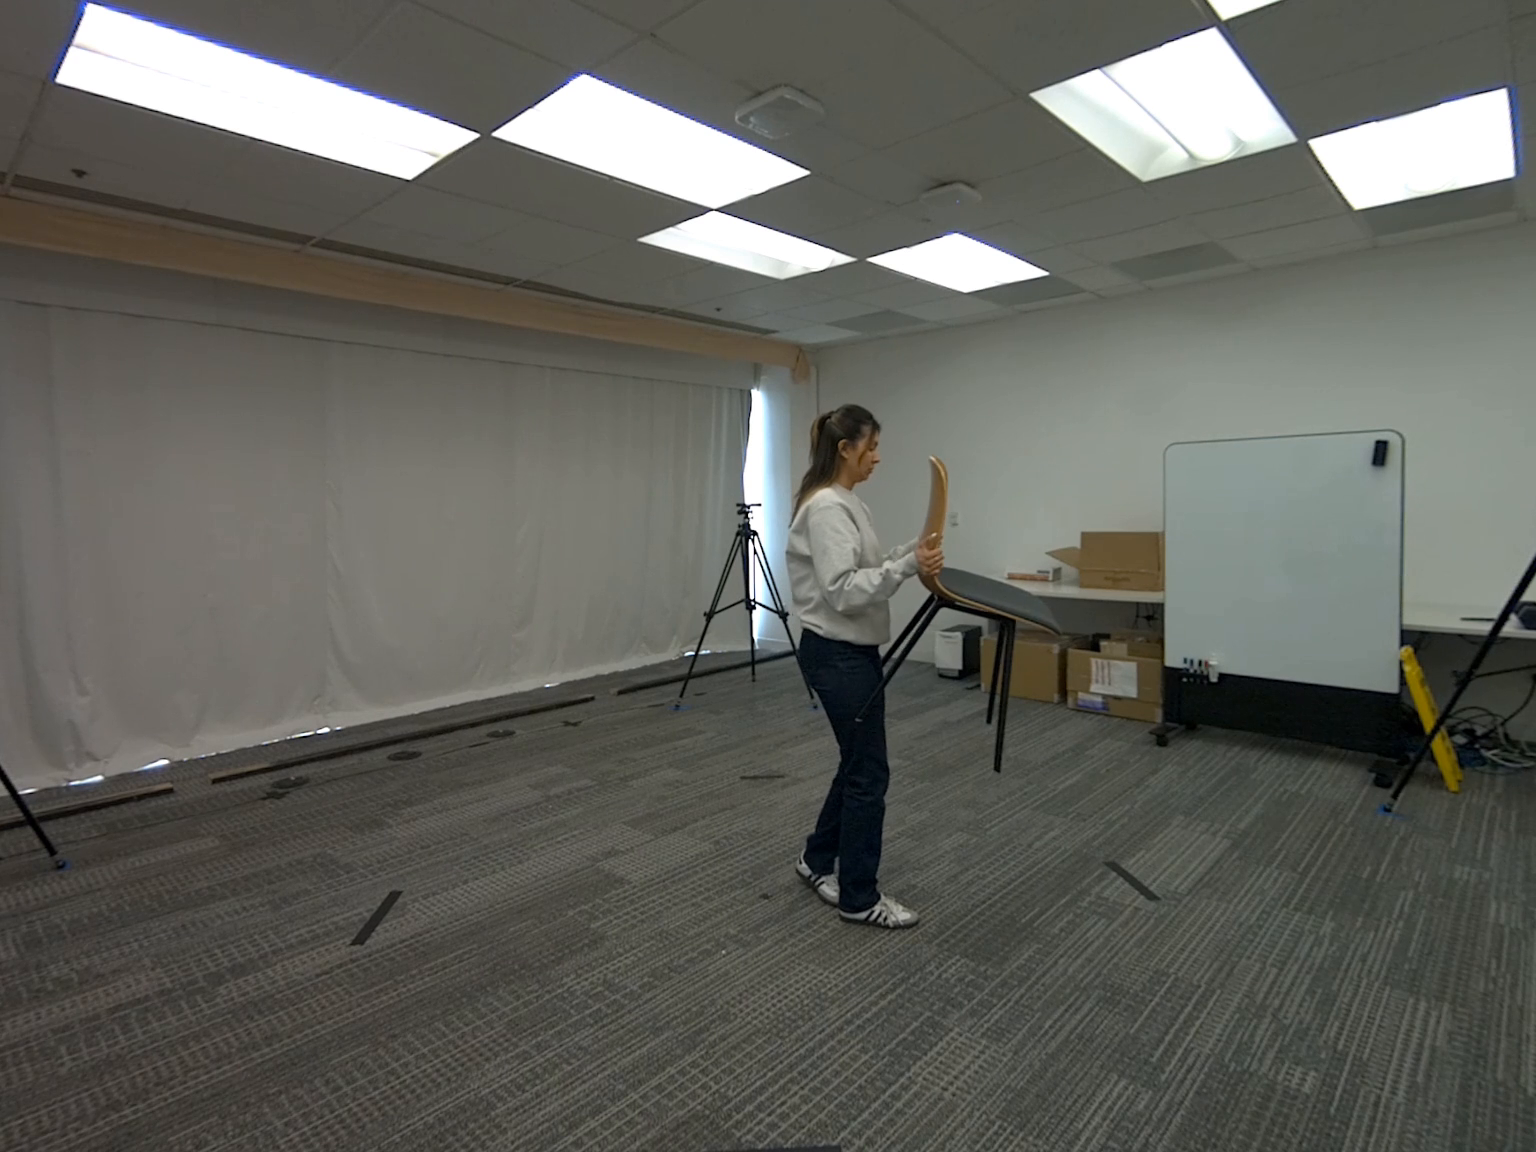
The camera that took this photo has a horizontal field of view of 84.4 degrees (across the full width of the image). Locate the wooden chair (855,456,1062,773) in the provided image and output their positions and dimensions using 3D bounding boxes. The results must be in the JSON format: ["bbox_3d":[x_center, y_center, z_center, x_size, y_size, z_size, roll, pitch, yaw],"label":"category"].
[{"bbox_3d":[0.682,0.100,2.719,0.531,0.874,0.473,15,10,11],"label":"wooden chair"}]
